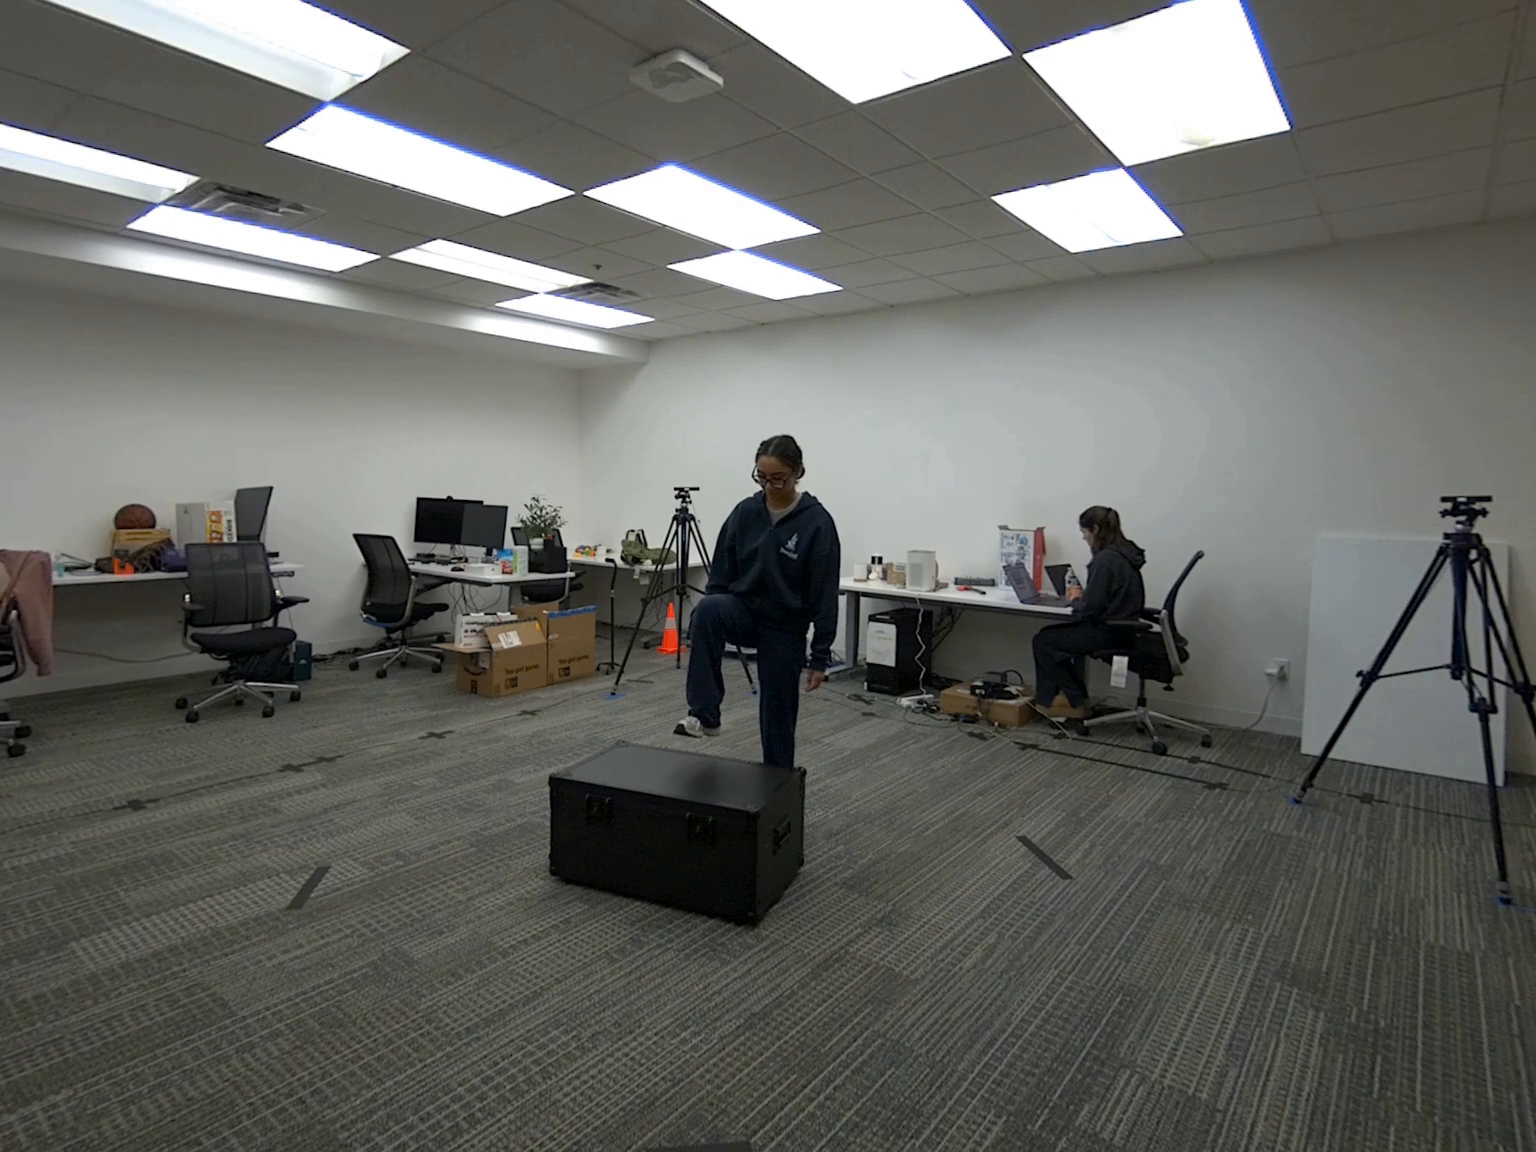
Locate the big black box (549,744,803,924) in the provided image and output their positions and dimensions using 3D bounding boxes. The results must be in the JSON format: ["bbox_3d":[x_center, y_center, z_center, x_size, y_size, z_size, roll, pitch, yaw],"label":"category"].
[{"bbox_3d":[-0.360,0.880,3.050,0.882,0.395,0.511,3,5,22],"label":"big black box"}]
